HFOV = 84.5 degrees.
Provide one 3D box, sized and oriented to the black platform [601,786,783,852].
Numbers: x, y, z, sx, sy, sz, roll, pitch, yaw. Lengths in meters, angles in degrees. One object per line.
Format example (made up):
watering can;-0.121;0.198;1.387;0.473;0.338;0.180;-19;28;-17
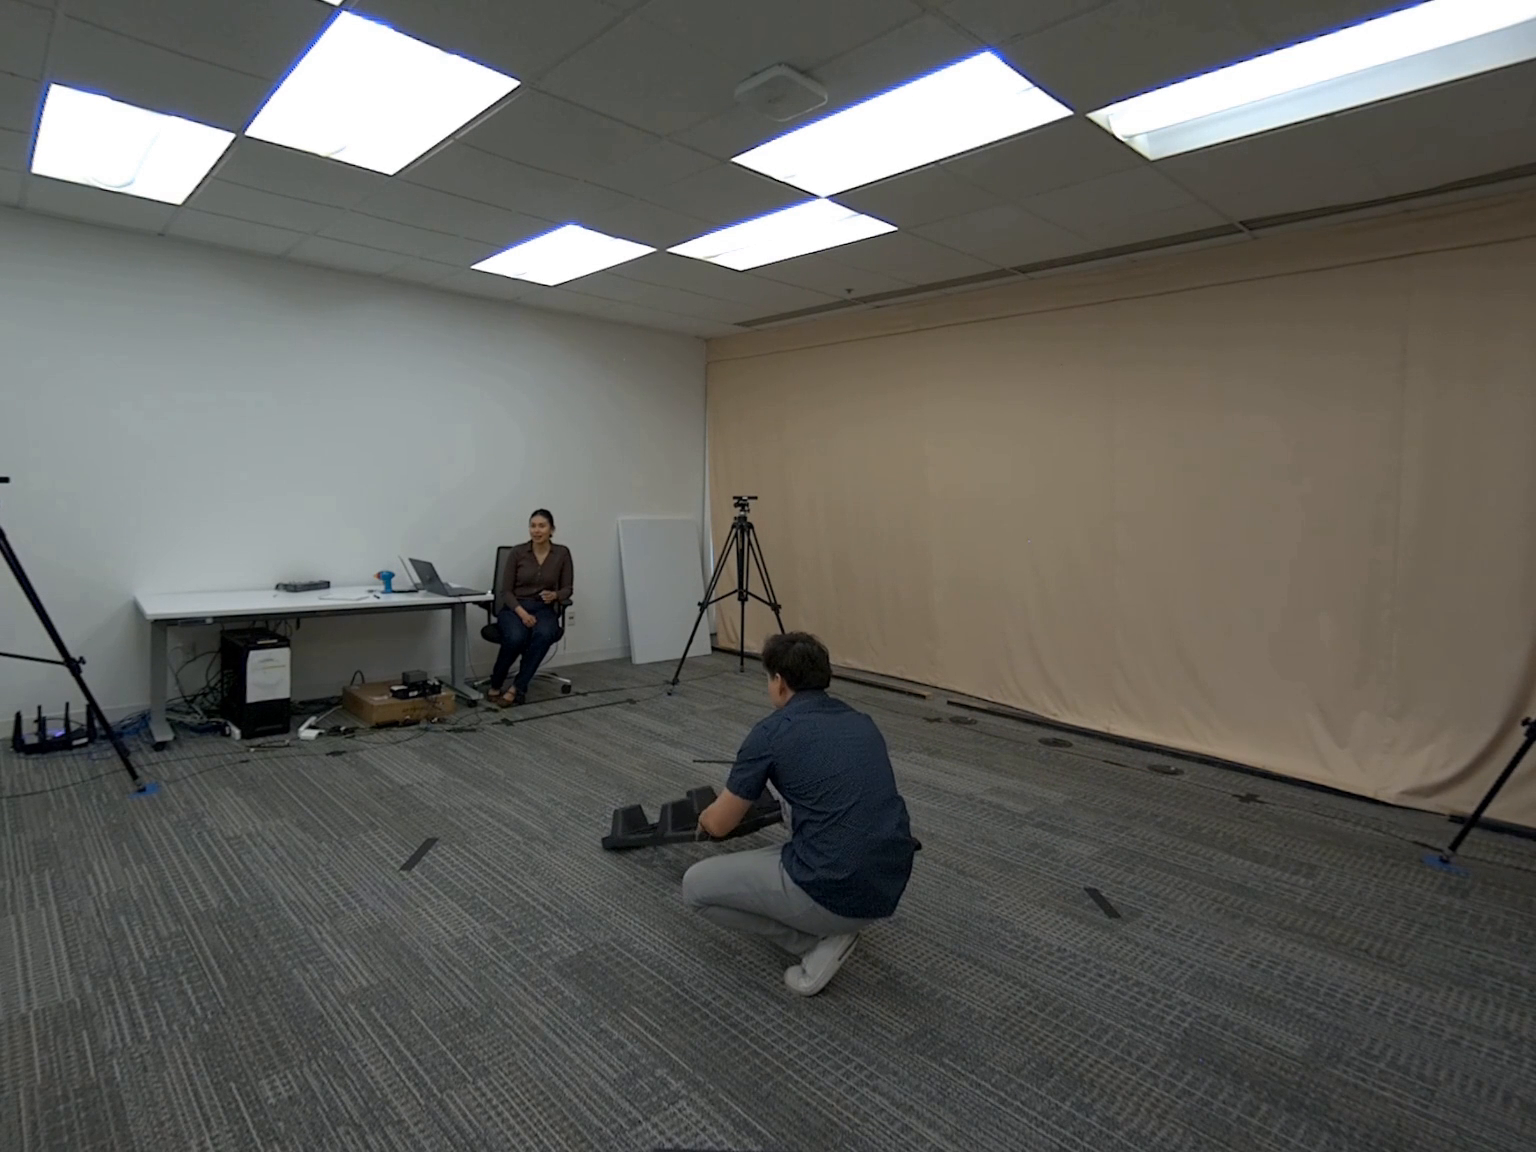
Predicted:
black platform;-0.193;0.896;3.228;0.591;0.145;0.816;-4;-12;-43
